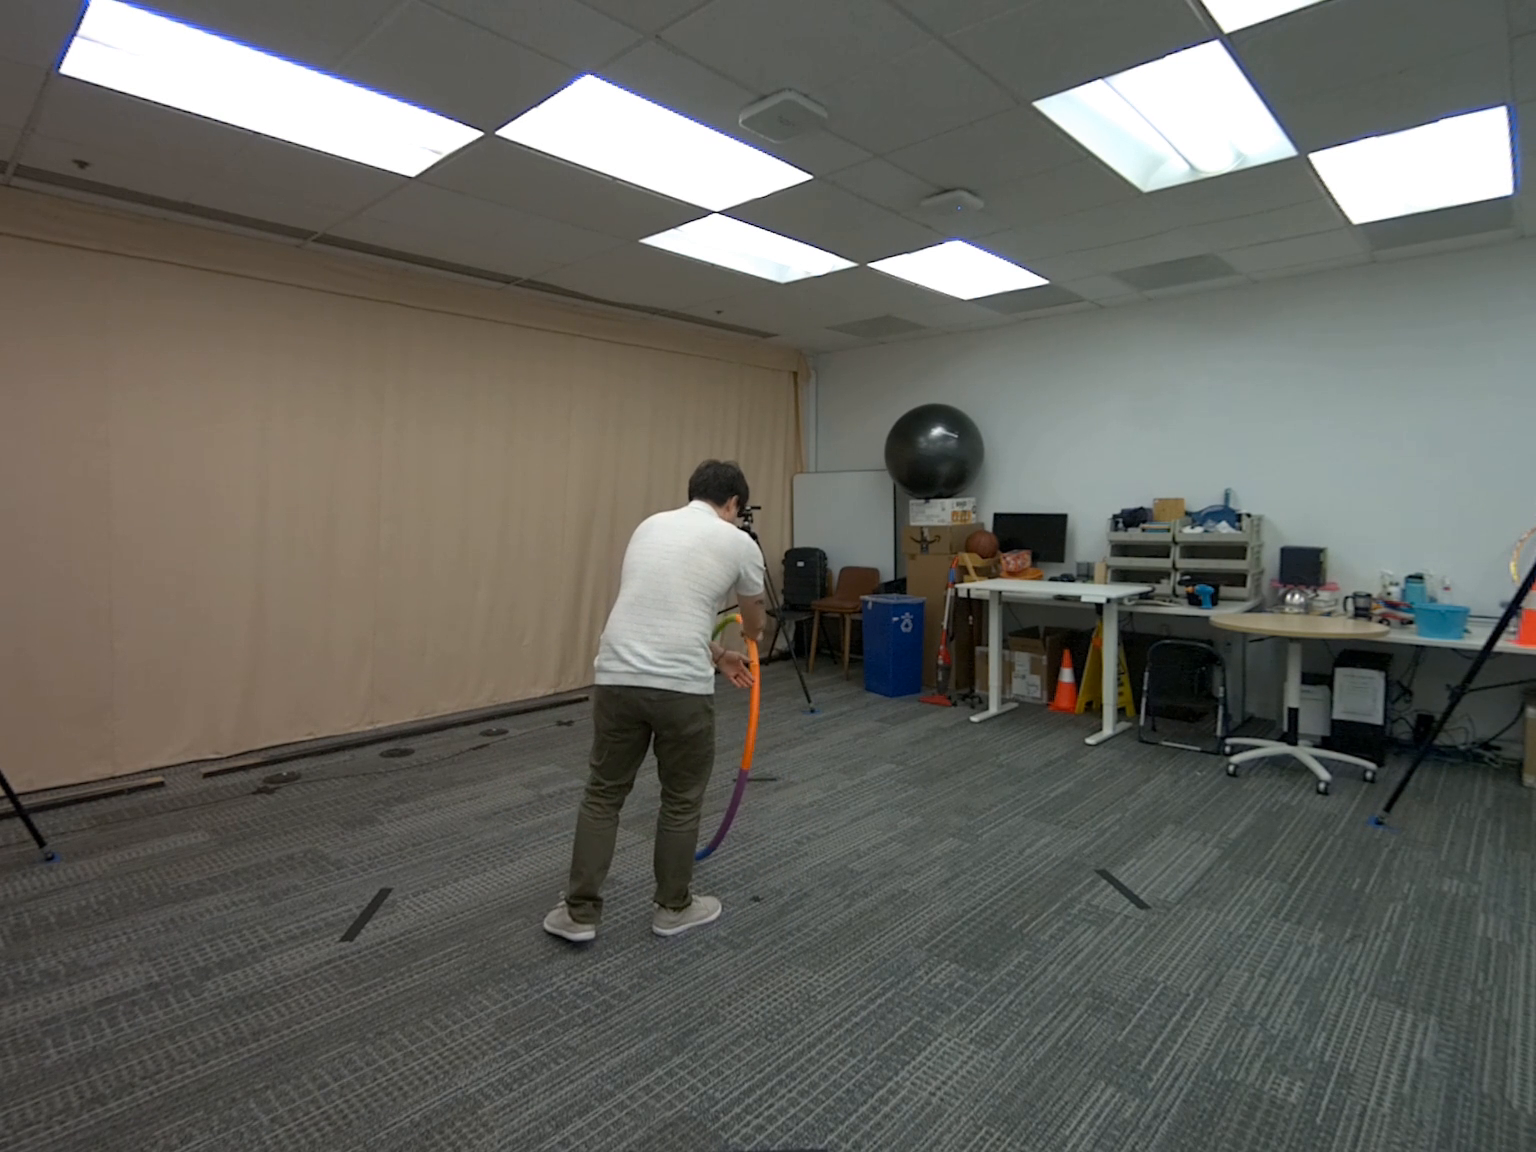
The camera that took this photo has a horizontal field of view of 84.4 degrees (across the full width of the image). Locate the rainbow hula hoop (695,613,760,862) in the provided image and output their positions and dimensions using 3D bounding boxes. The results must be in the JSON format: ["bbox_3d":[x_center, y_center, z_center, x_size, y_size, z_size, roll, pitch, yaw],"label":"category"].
[{"bbox_3d":[-0.231,0.638,3.408,0.035,0.979,0.998,15,-1,-19],"label":"rainbow hula hoop"}]
